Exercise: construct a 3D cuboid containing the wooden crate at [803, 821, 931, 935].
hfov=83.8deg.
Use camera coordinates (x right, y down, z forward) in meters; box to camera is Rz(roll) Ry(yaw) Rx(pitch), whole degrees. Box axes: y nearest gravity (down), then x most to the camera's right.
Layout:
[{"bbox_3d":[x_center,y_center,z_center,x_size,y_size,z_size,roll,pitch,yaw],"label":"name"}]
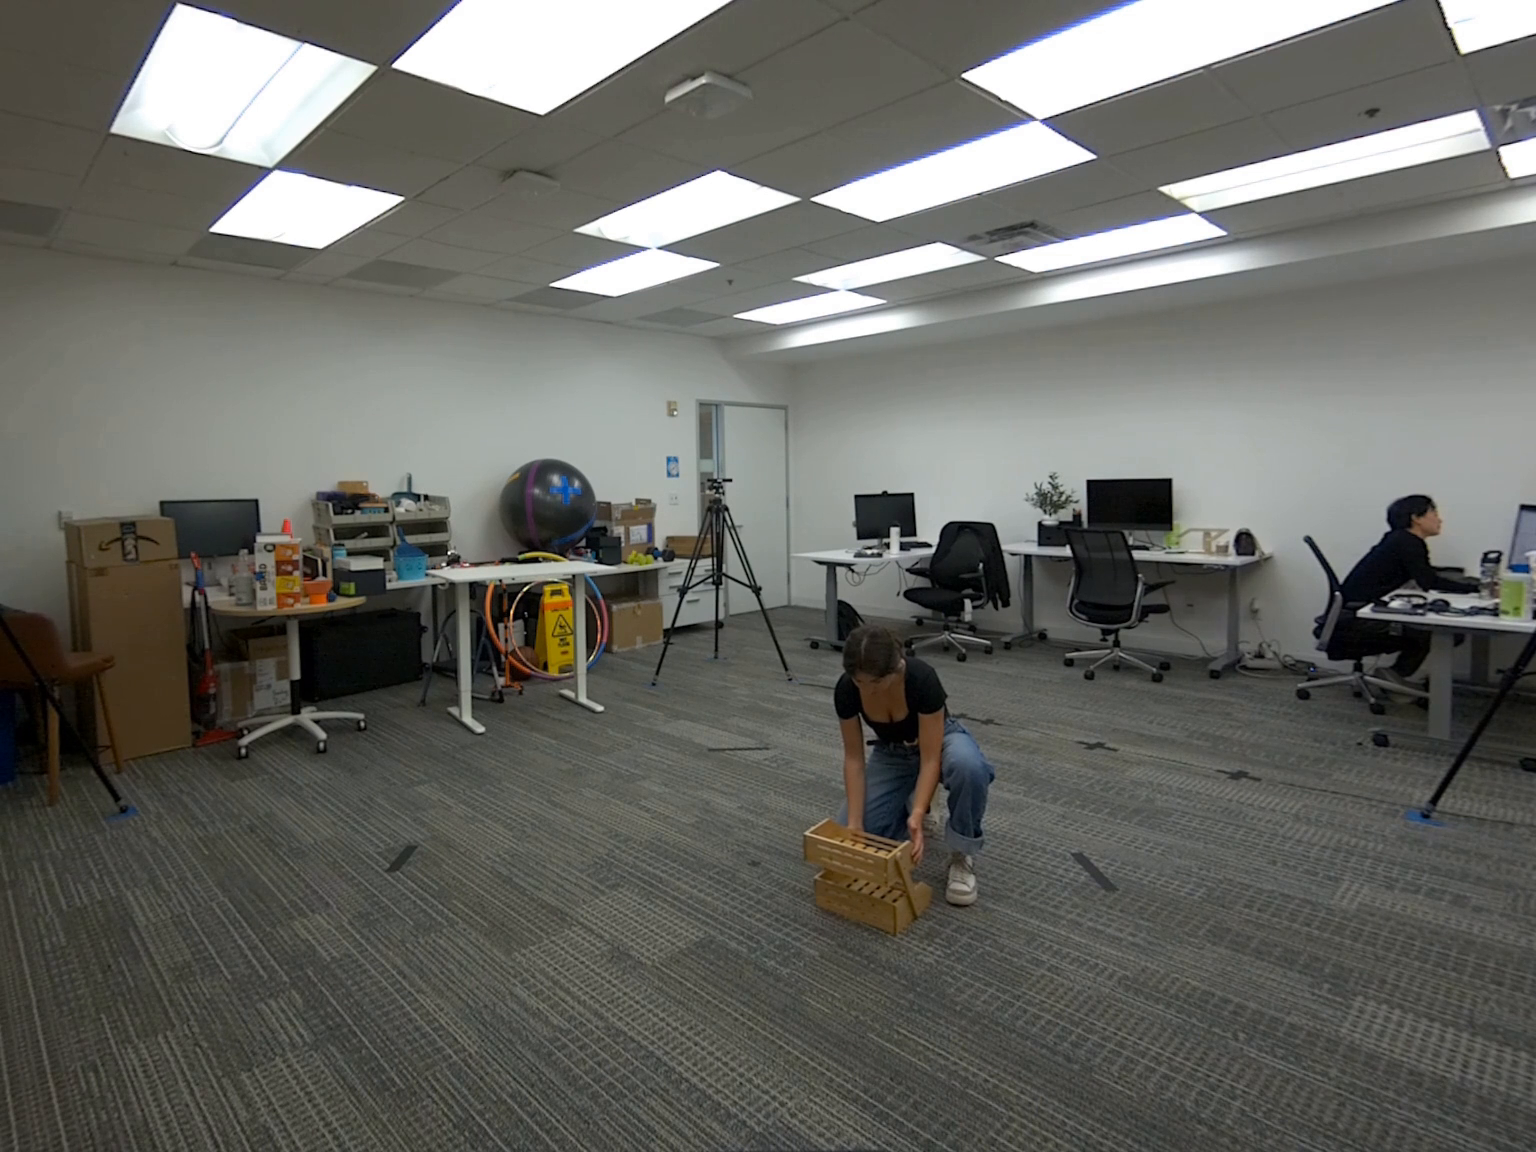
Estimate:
[{"bbox_3d":[0.330,0.943,2.764,0.334,0.272,0.294,4,8,38],"label":"wooden crate"}]
